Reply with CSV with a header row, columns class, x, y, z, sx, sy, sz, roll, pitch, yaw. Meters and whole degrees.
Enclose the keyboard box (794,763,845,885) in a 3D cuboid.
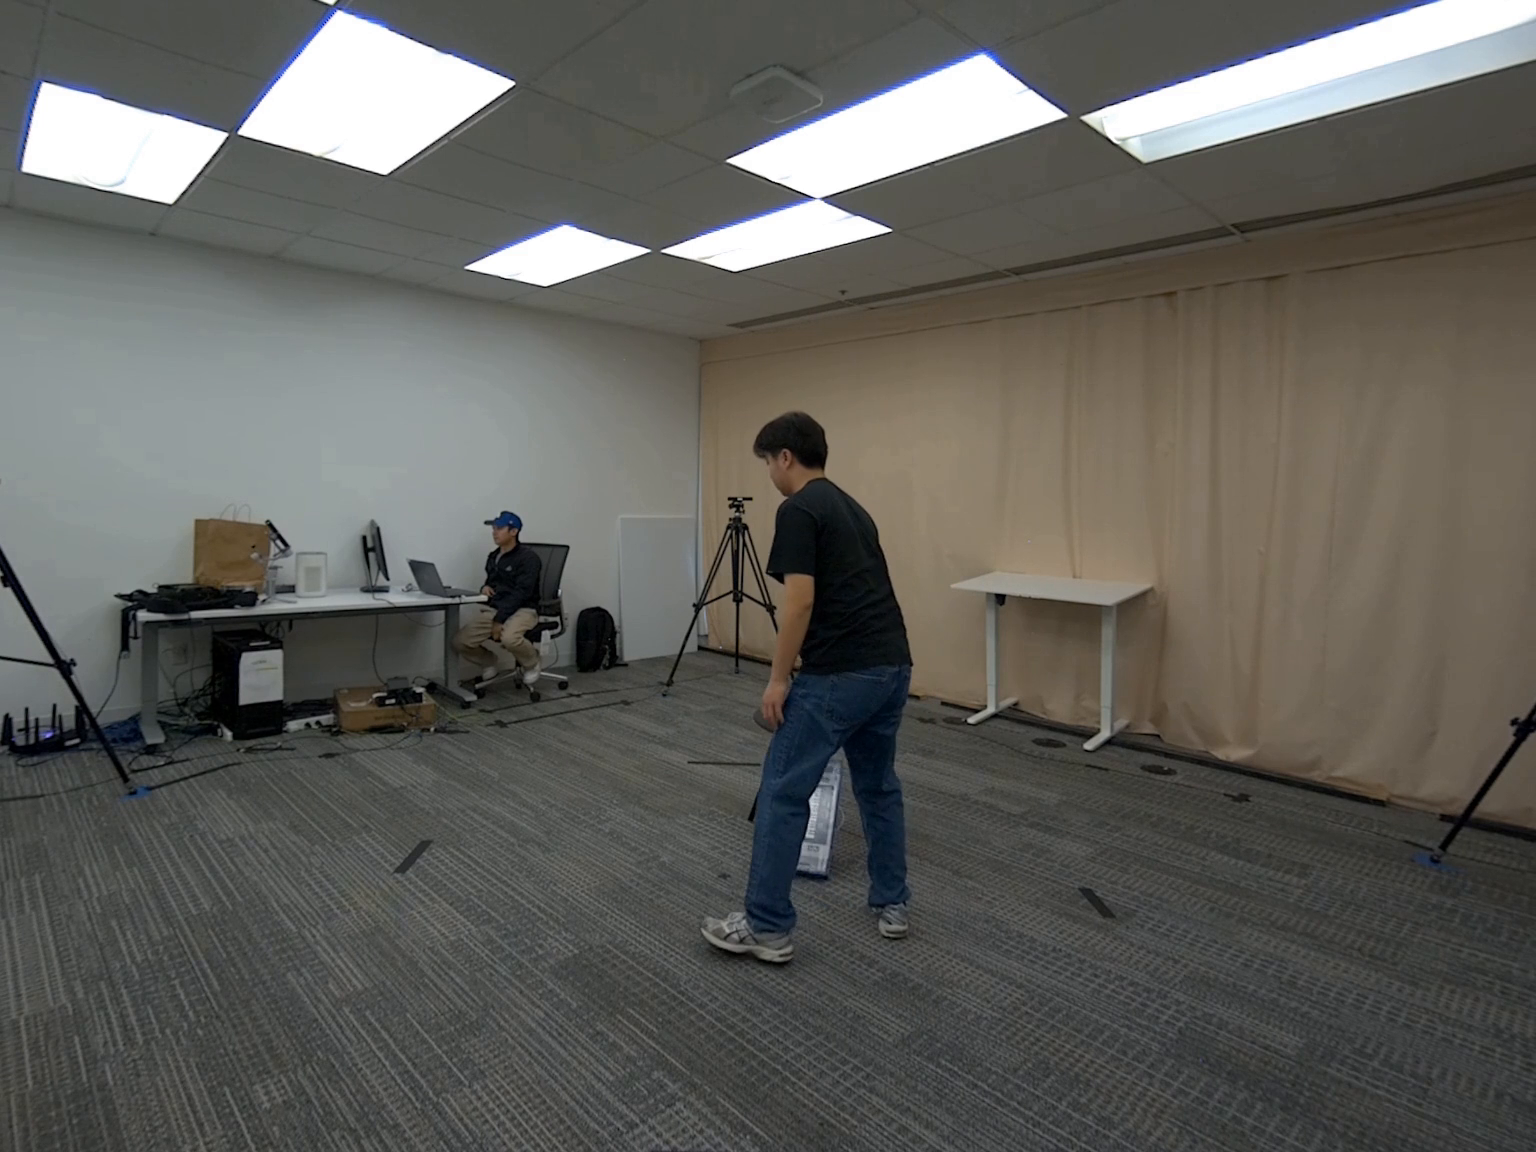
class,x,y,z,sx,sy,sz,roll,pitch,yaw
keyboard box,0.172,0.927,3.221,0.178,0.443,0.057,1,-35,16
